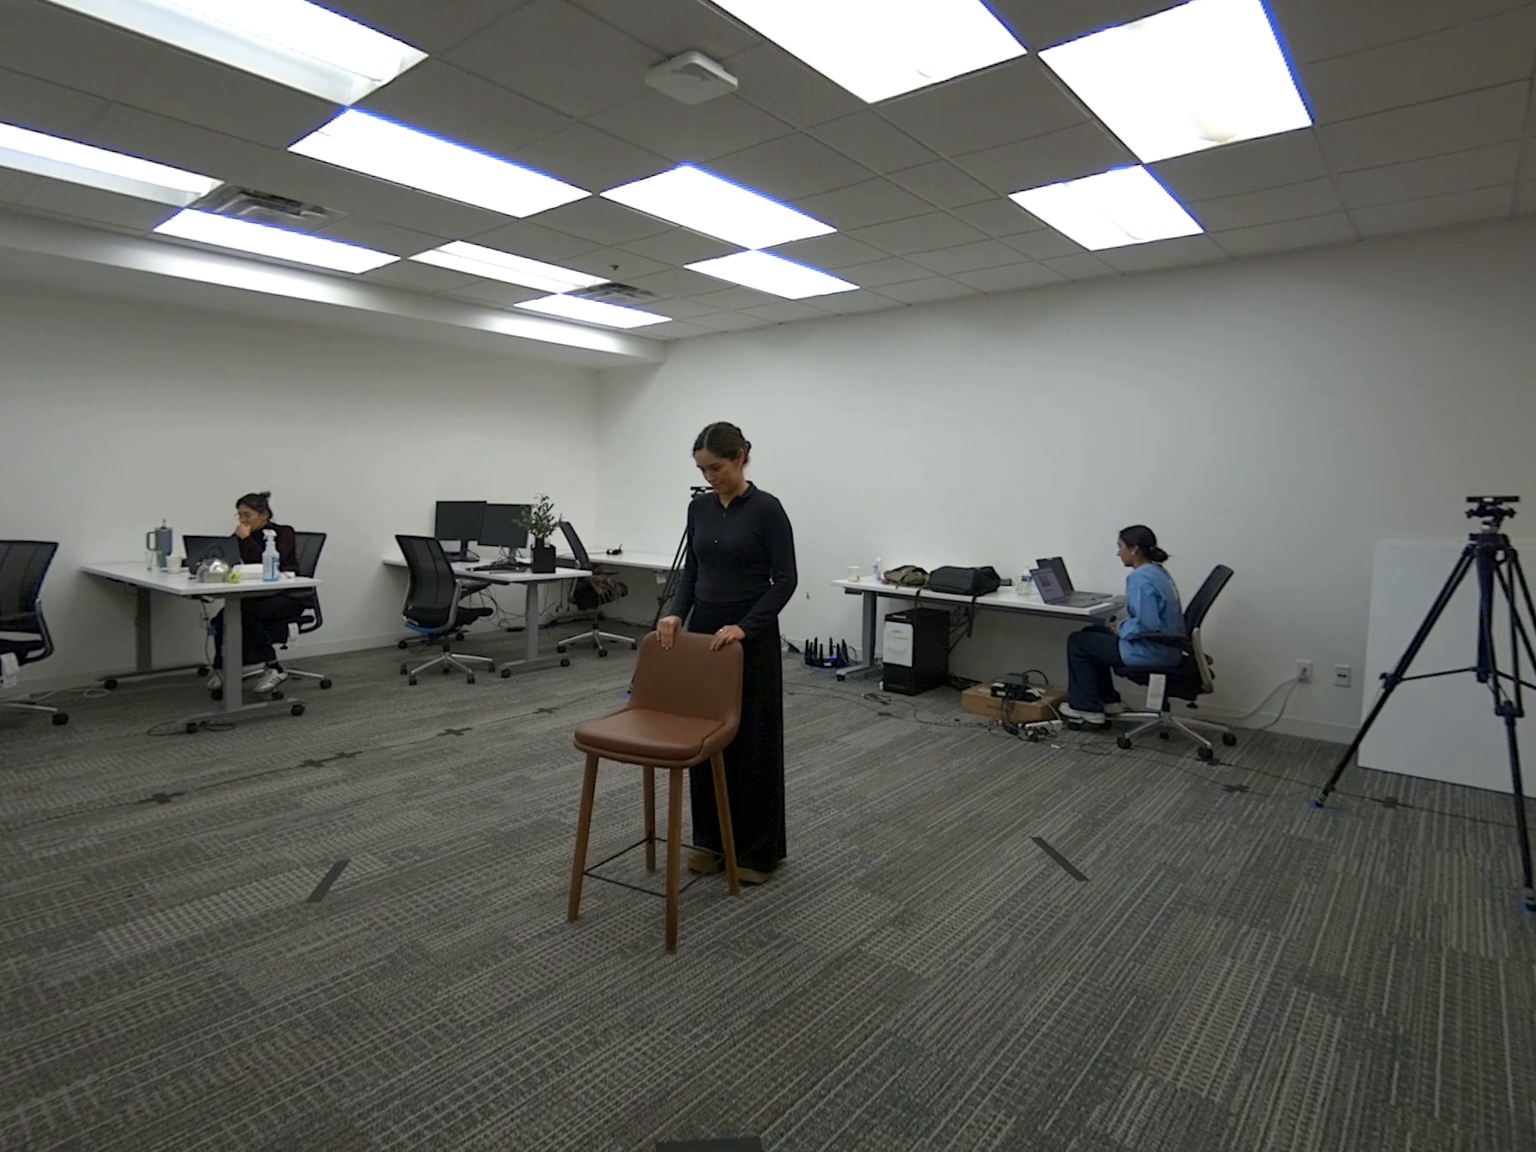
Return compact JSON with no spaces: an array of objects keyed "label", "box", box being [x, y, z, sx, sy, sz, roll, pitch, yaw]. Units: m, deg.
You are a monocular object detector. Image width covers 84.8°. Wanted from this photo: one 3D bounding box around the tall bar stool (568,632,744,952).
[{"label":"tall bar stool","box":[-0.361,0.655,2.805,0.469,0.889,0.455,2,1,29]}]
